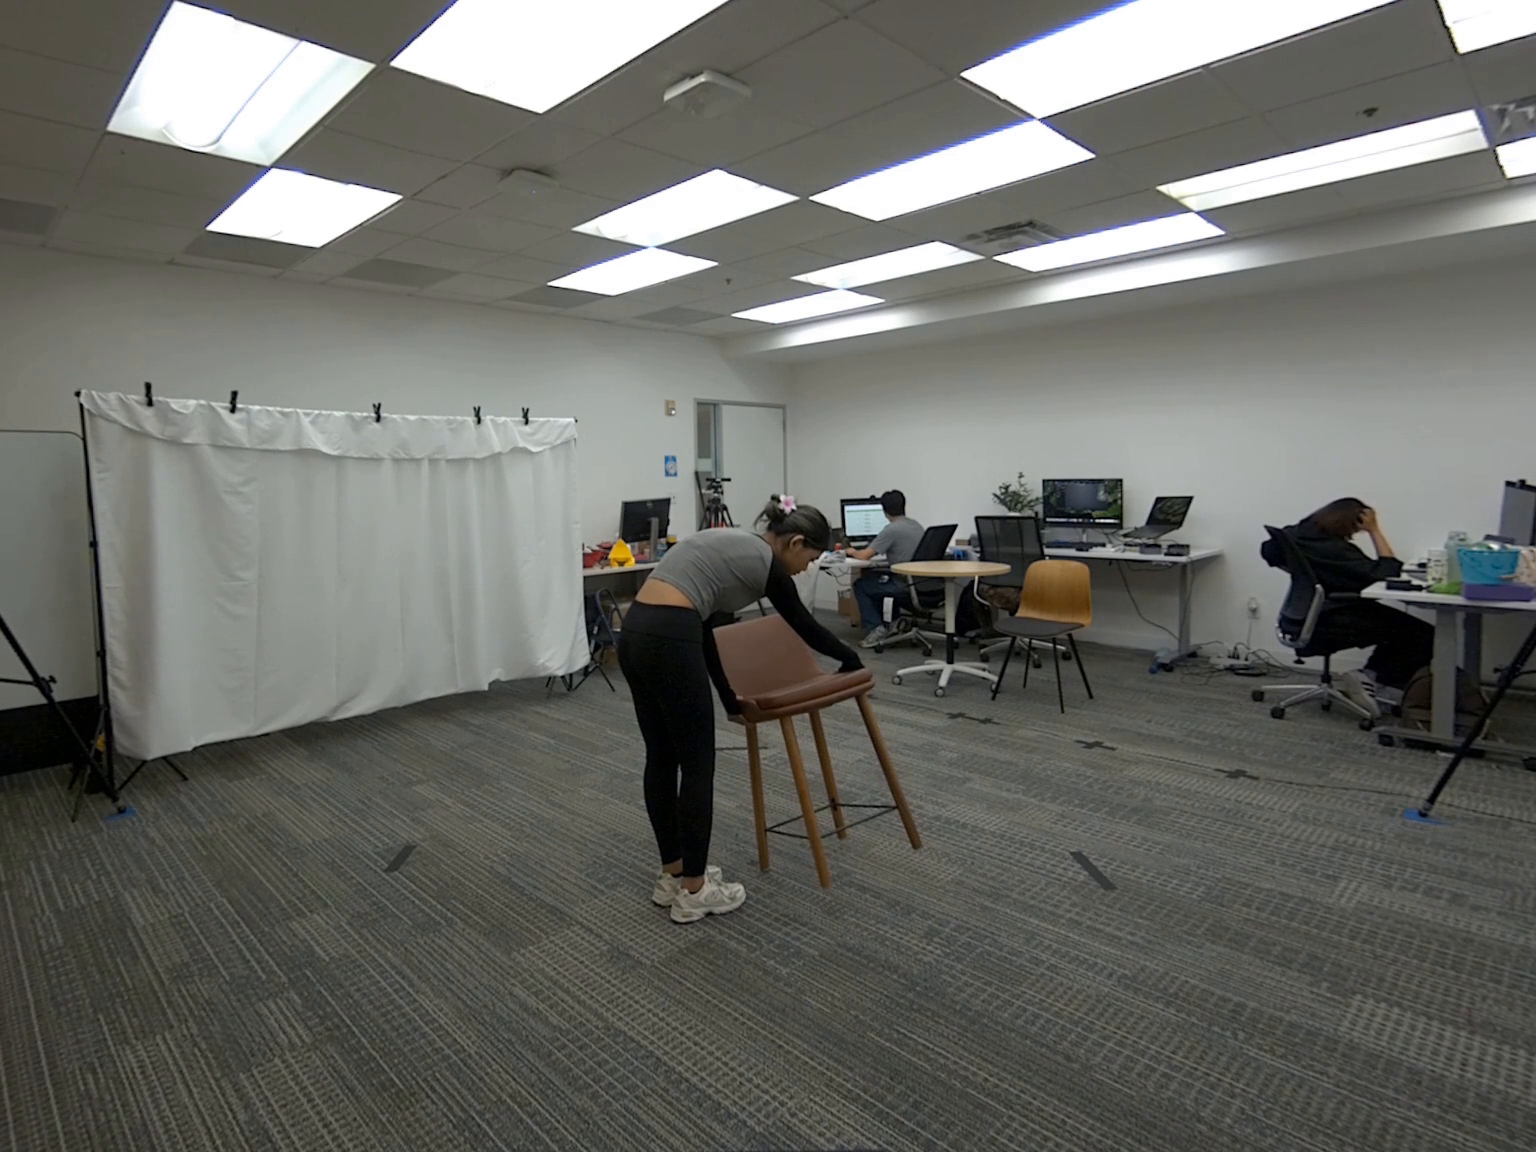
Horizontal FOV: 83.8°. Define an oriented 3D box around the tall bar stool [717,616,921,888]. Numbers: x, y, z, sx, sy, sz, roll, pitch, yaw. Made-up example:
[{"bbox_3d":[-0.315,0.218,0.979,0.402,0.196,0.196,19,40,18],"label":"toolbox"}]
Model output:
[{"bbox_3d":[0.139,0.562,3.008,0.447,0.897,0.473,-10,-8,-30],"label":"tall bar stool"}]
